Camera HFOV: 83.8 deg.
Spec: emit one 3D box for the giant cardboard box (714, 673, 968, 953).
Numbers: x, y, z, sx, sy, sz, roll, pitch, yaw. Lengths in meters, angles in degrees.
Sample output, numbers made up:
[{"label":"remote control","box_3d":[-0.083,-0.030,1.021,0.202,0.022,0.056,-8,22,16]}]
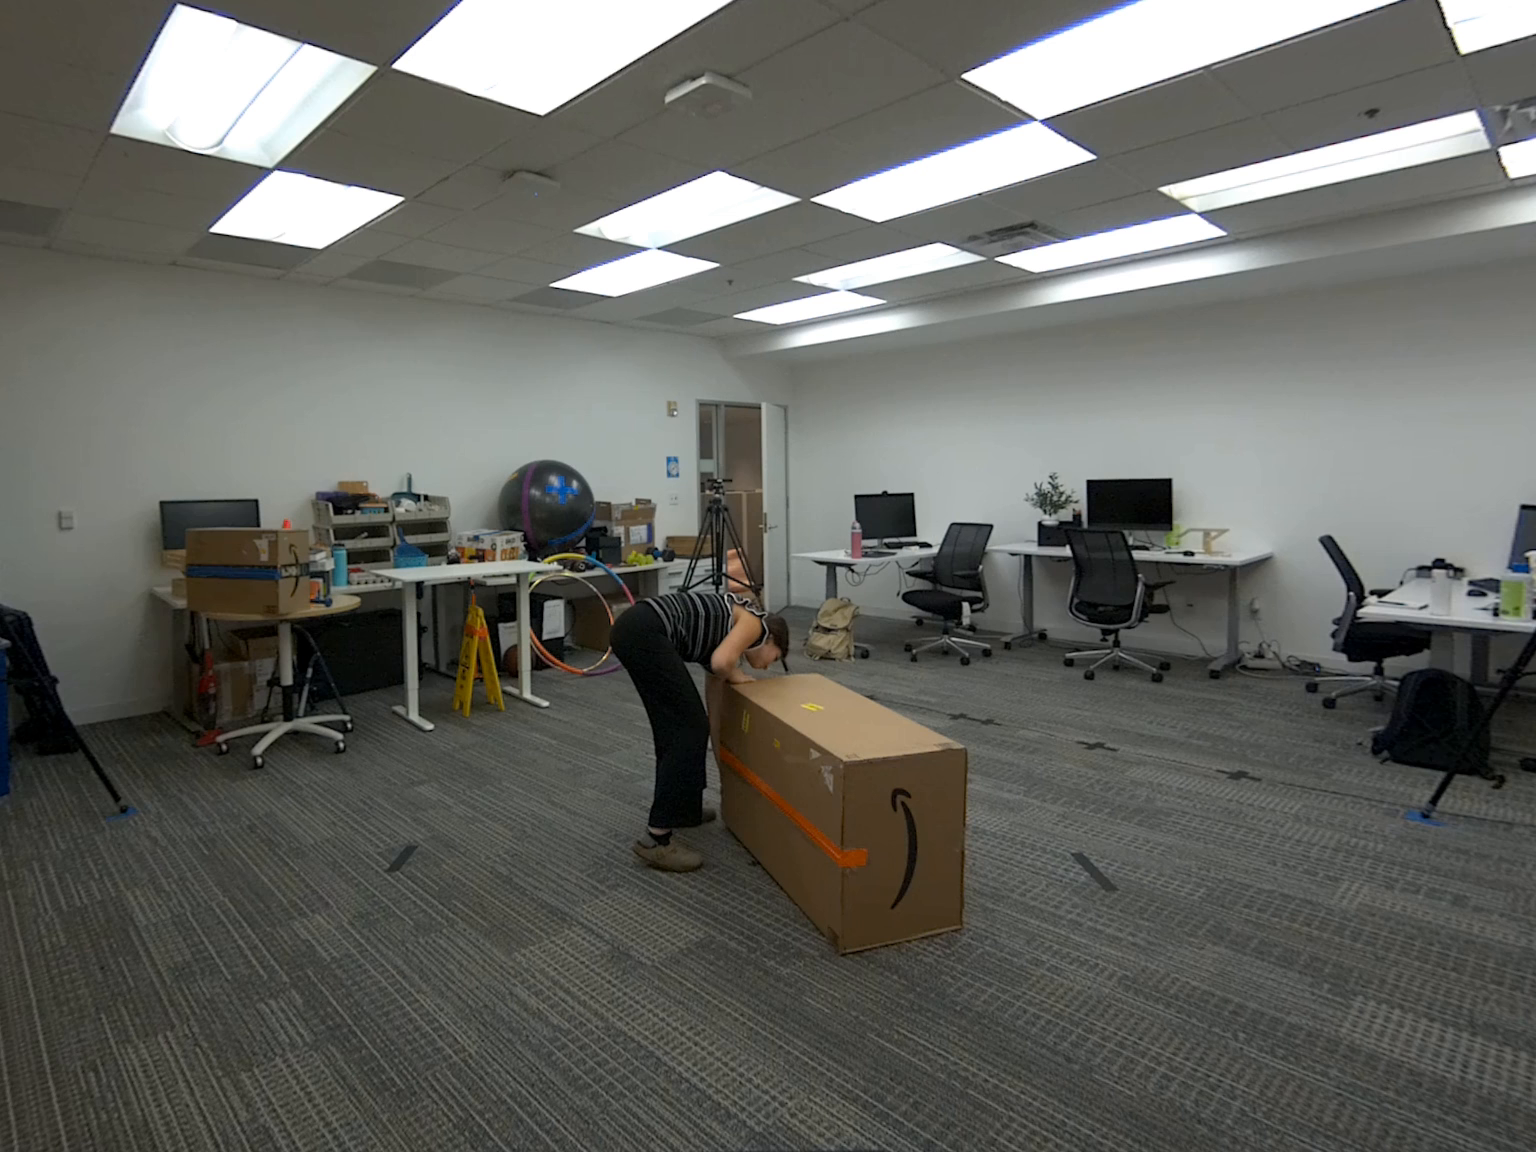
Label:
[{"label":"giant cardboard box","box_3d":[0.217,0.755,3.012,0.418,0.575,1.050,-2,6,-22]}]
